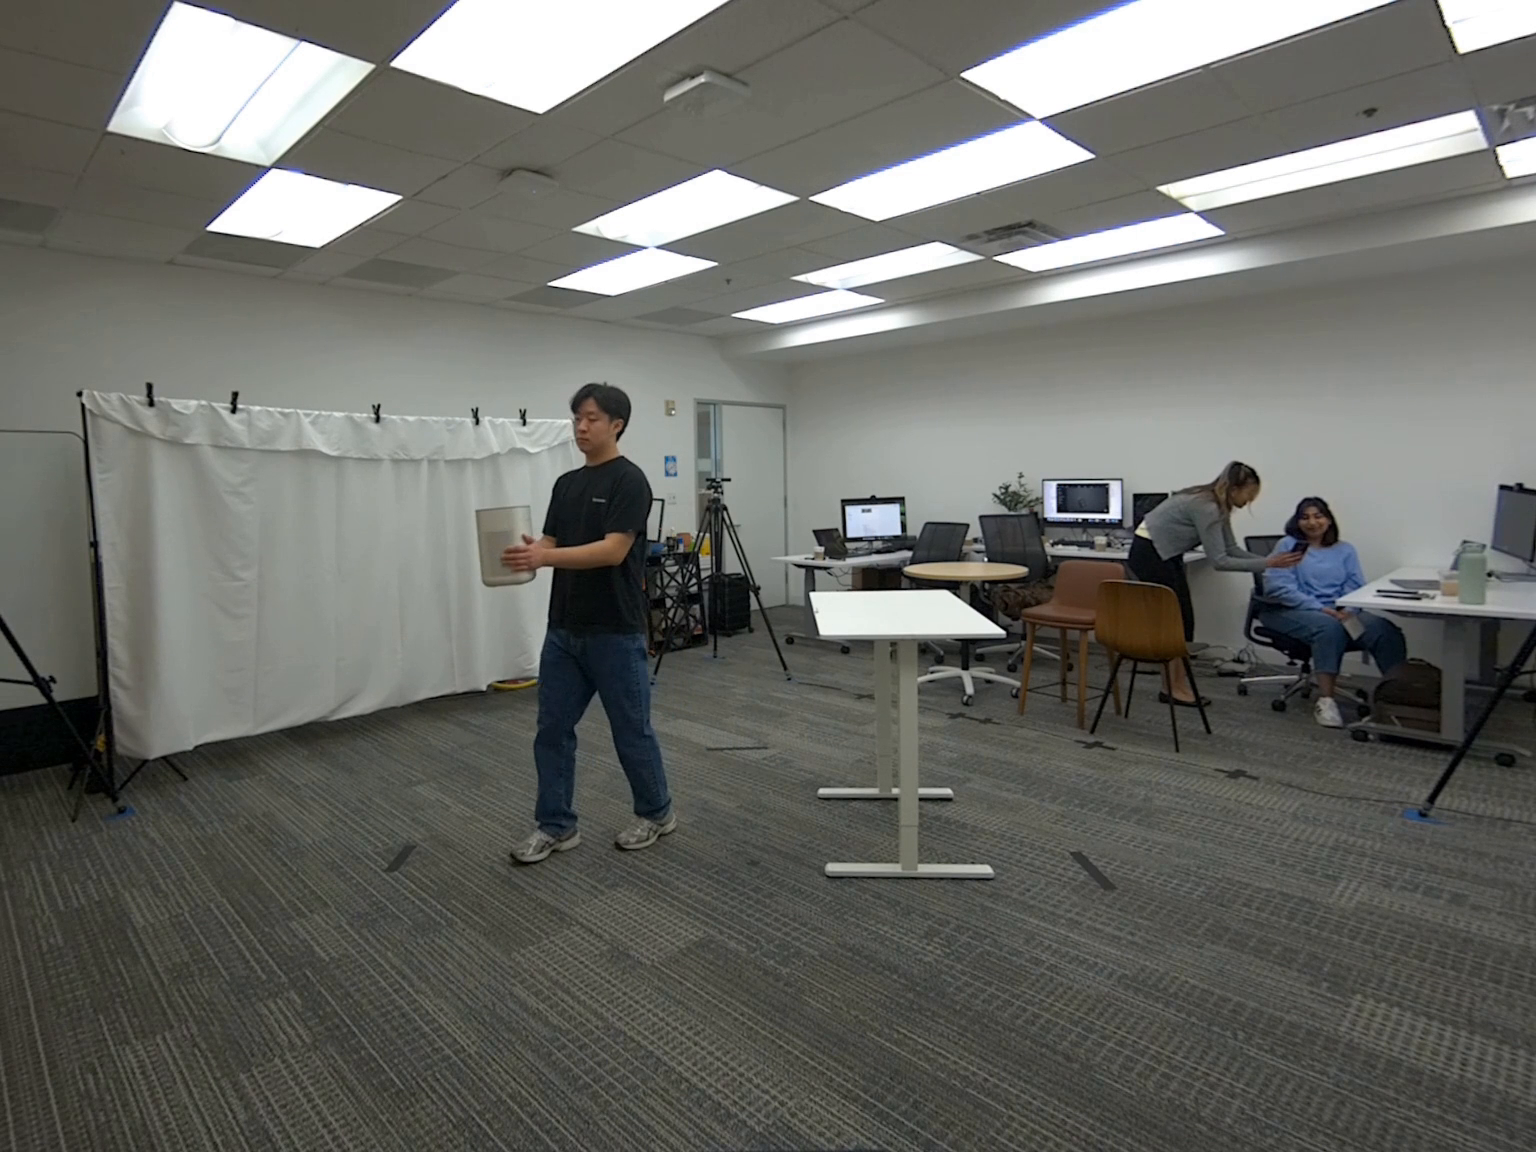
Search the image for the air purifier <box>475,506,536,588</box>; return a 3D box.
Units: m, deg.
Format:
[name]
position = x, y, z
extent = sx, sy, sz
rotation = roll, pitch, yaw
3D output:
[air purifier]
position = -0.904, -0.101, 2.933
extent = 0.172, 0.264, 0.171
rotation = -6, 4, 1
